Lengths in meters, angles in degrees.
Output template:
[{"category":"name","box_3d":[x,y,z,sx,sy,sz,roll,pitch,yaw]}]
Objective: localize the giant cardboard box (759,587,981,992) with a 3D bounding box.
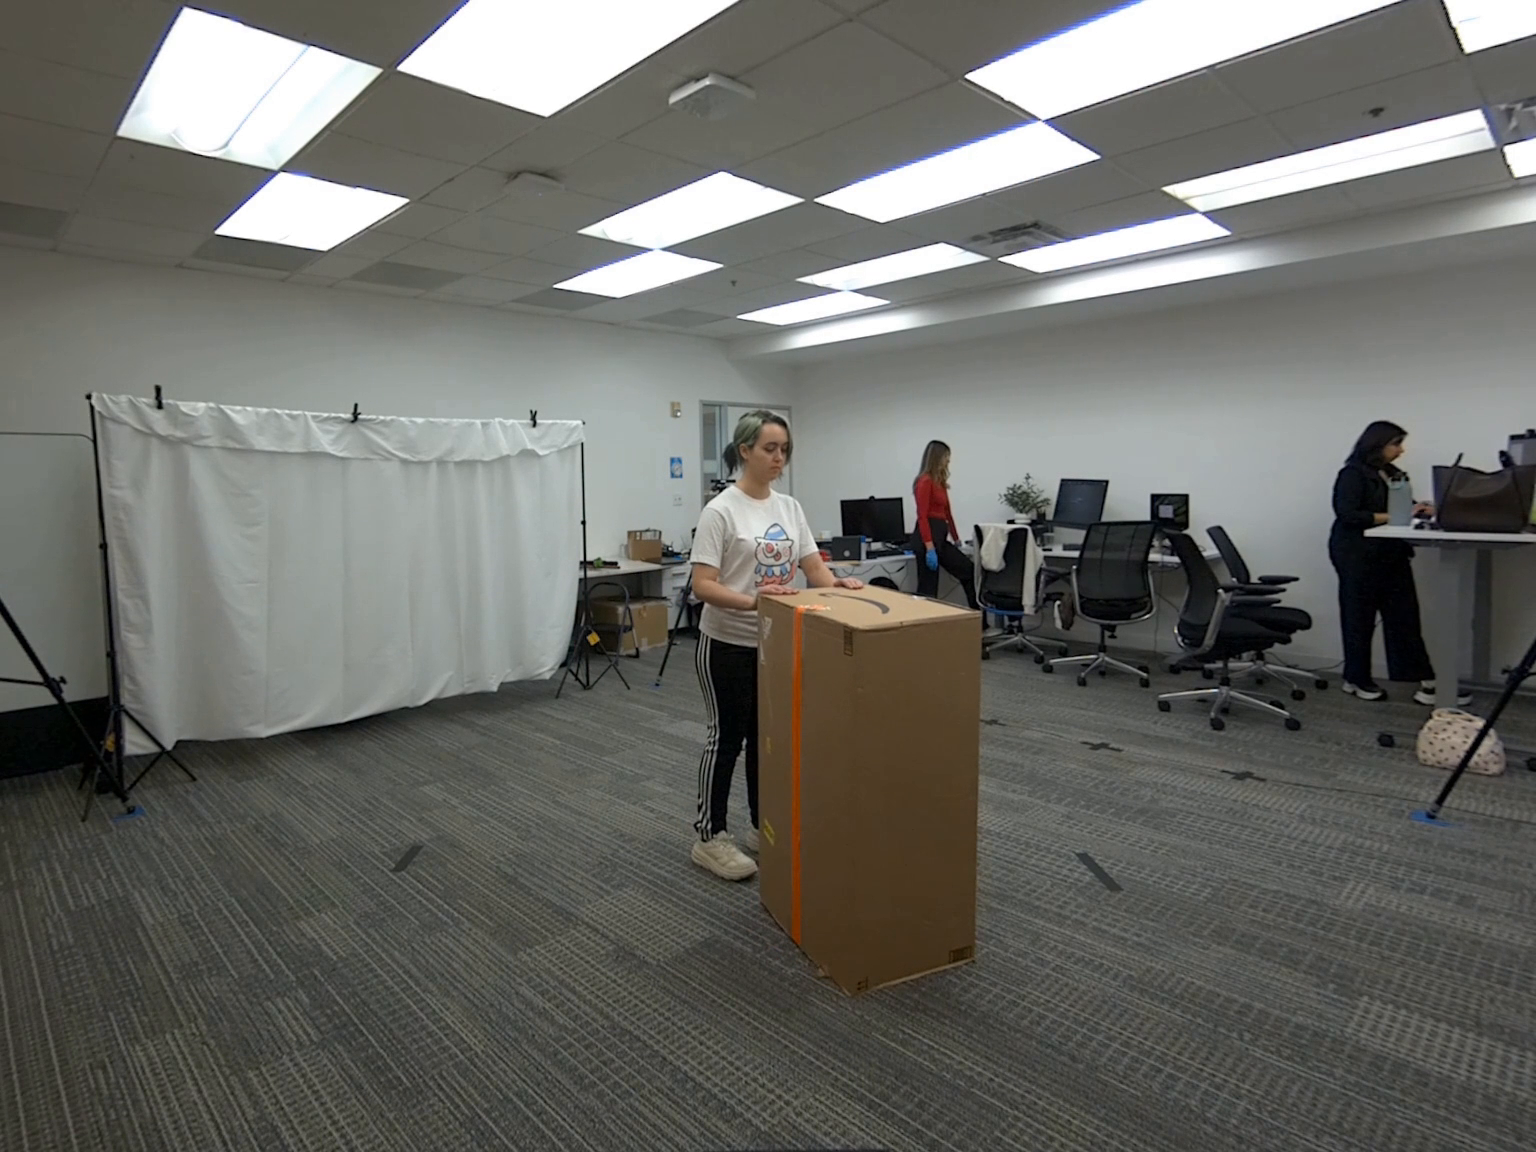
[{"category":"giant cardboard box","box_3d":[0.287,0.588,2.586,0.437,1.022,0.599,-3,6,-26]}]
